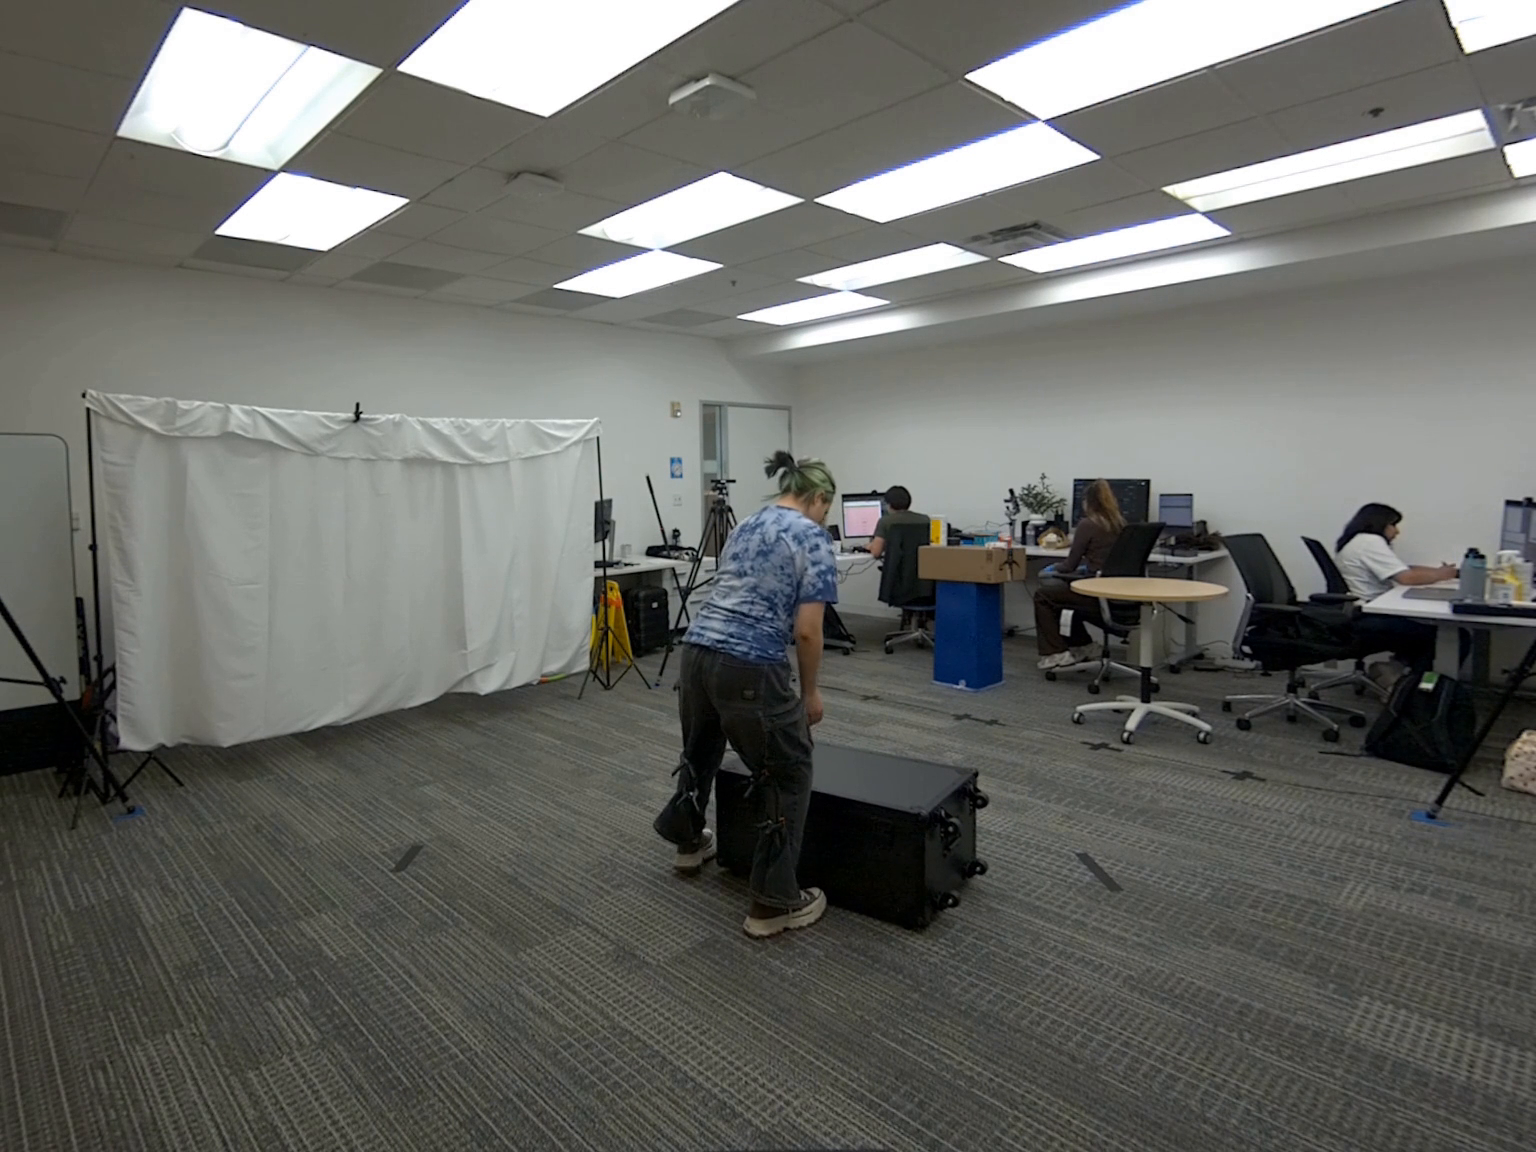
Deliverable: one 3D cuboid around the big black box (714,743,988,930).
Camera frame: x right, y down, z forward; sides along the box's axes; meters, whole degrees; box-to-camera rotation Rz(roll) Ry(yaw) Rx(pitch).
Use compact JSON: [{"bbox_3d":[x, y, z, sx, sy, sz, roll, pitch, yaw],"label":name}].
[{"bbox_3d":[0.301,0.862,2.986,0.885,0.395,0.509,2,6,33],"label":"big black box"}]
